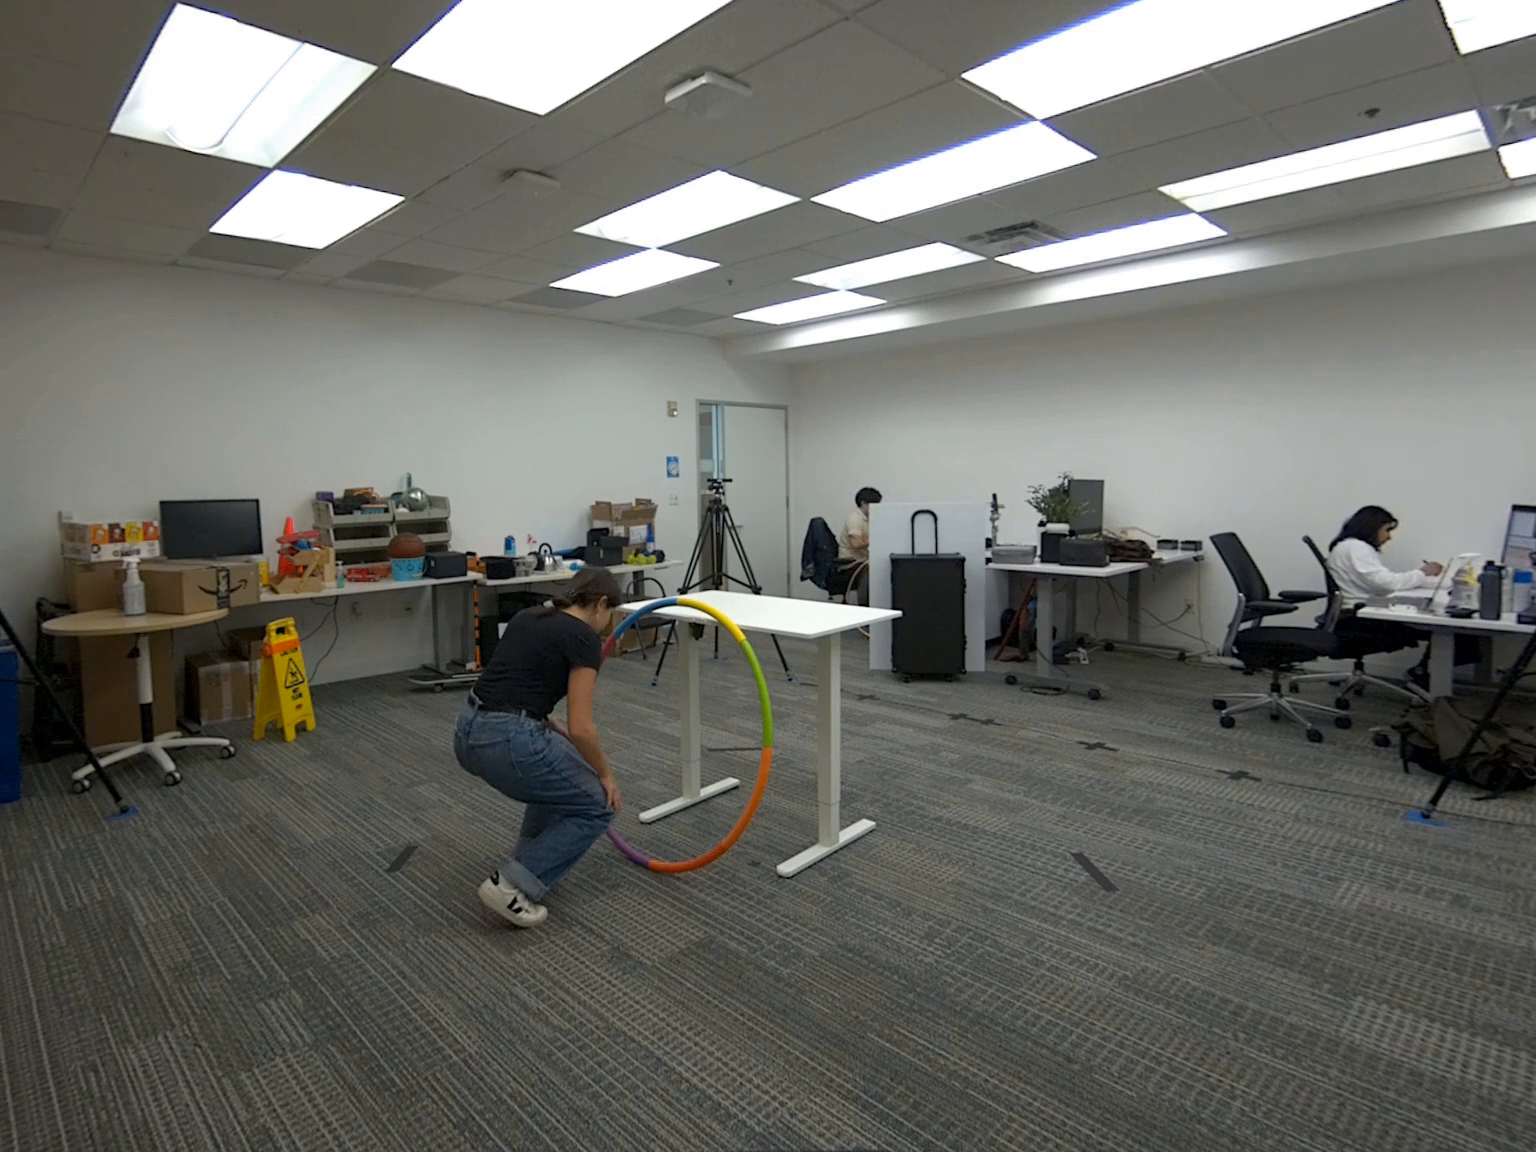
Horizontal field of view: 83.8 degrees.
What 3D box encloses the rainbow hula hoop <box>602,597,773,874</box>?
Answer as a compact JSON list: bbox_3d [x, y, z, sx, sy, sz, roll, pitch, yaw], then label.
[{"bbox_3d":[-0.384,0.569,3.146,1.008,0.984,0.034,3,-8,42],"label":"rainbow hula hoop"}]
